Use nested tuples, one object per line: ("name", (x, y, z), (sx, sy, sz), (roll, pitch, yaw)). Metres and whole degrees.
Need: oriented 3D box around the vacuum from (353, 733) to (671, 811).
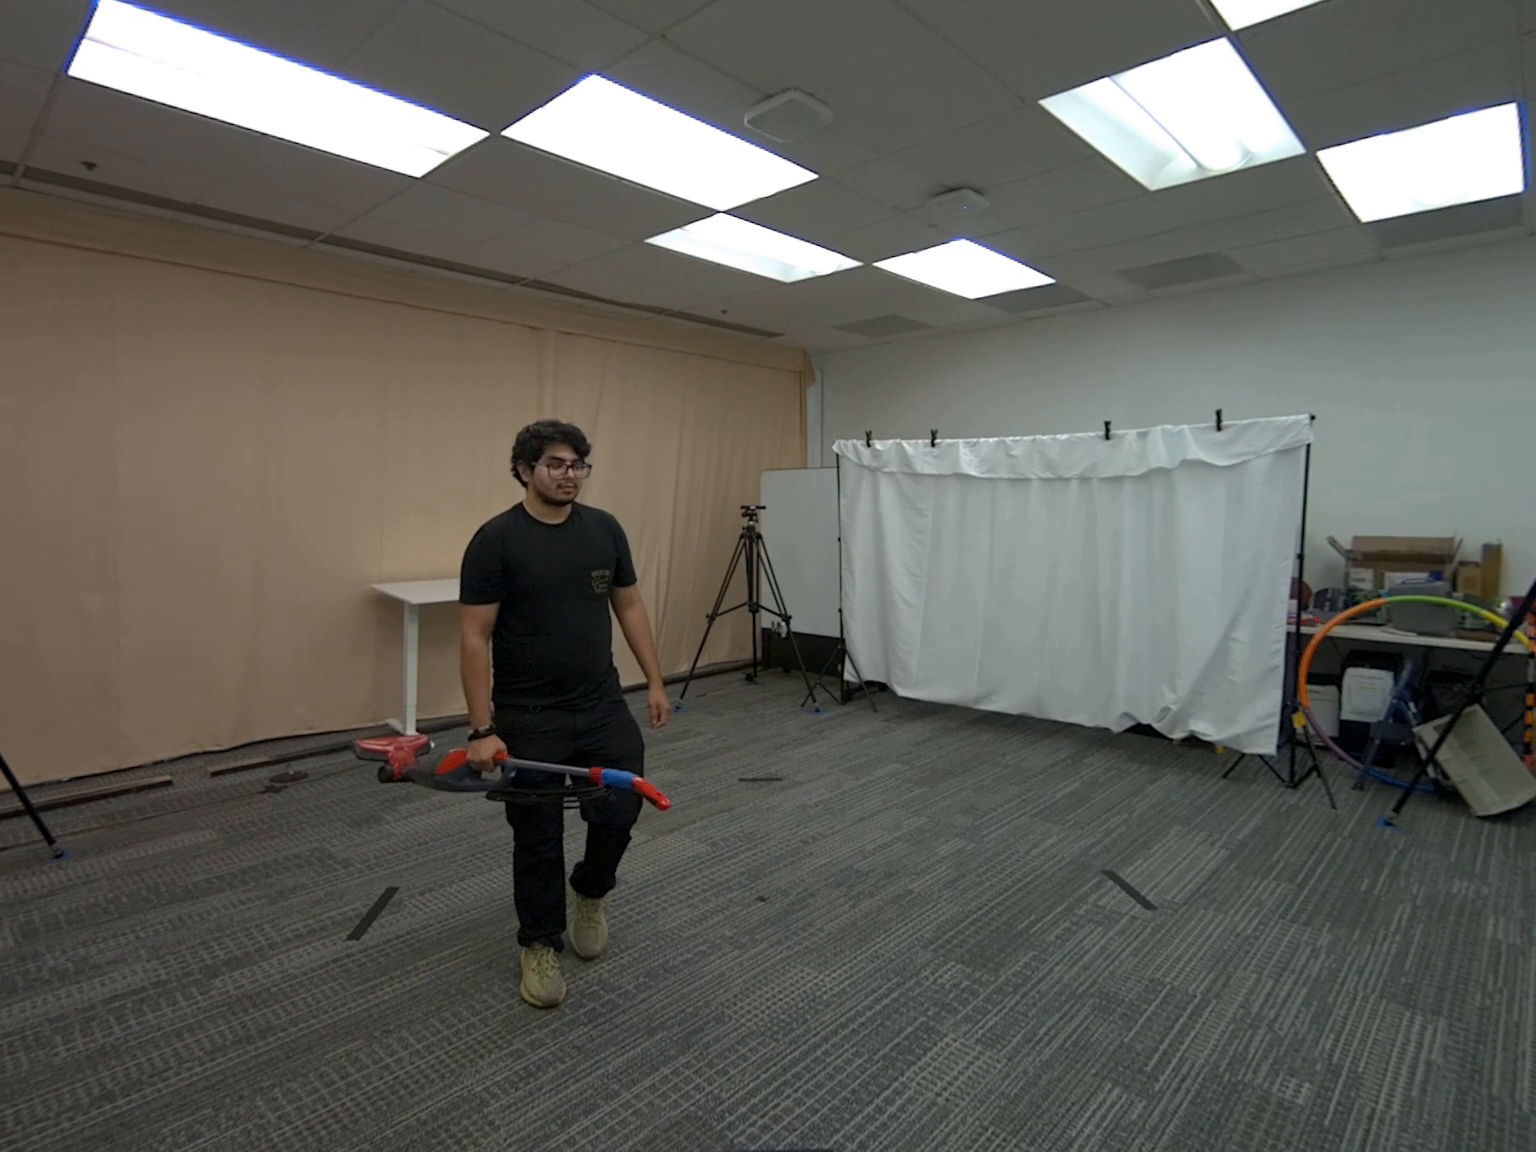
("vacuum", (-0.681, 0.539, 2.221), (1.079, 0.144, 0.244), (-3, -7, 33))
